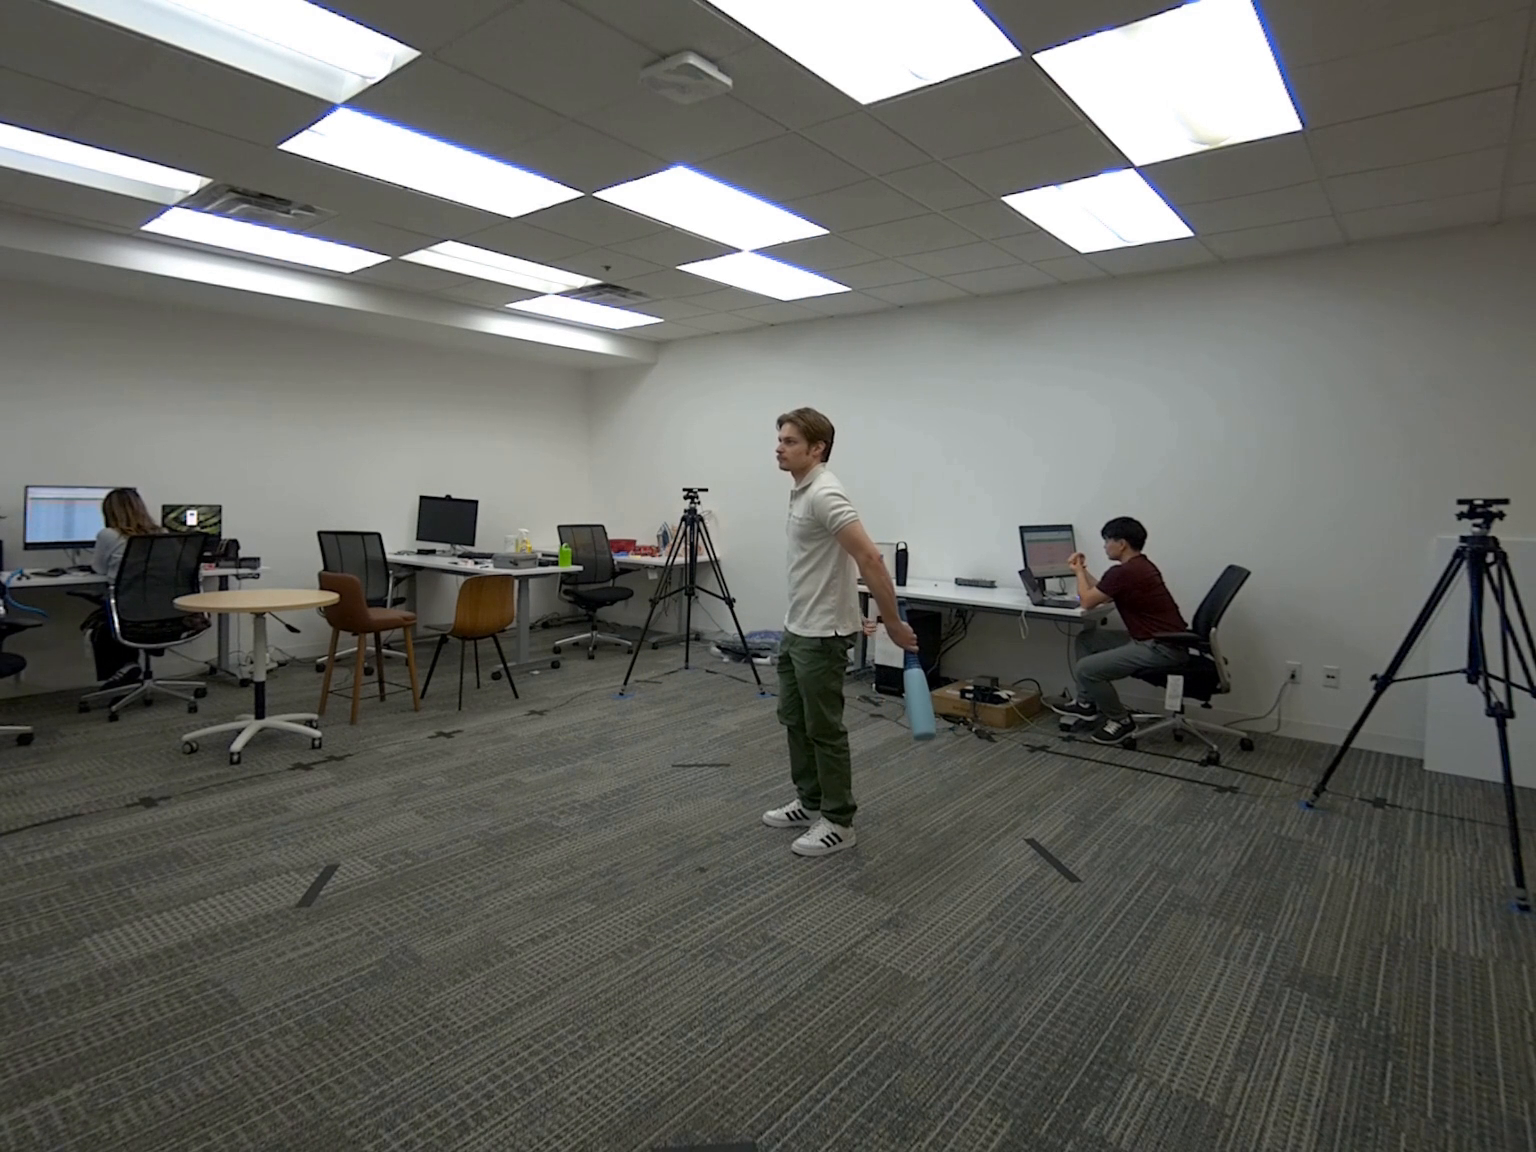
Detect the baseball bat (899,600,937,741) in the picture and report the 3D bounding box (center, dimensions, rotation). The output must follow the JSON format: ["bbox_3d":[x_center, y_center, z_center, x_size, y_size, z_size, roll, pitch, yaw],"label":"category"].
[{"bbox_3d":[0.510,0.331,3.120,0.089,0.558,0.087,-3,-31,-4],"label":"baseball bat"}]
